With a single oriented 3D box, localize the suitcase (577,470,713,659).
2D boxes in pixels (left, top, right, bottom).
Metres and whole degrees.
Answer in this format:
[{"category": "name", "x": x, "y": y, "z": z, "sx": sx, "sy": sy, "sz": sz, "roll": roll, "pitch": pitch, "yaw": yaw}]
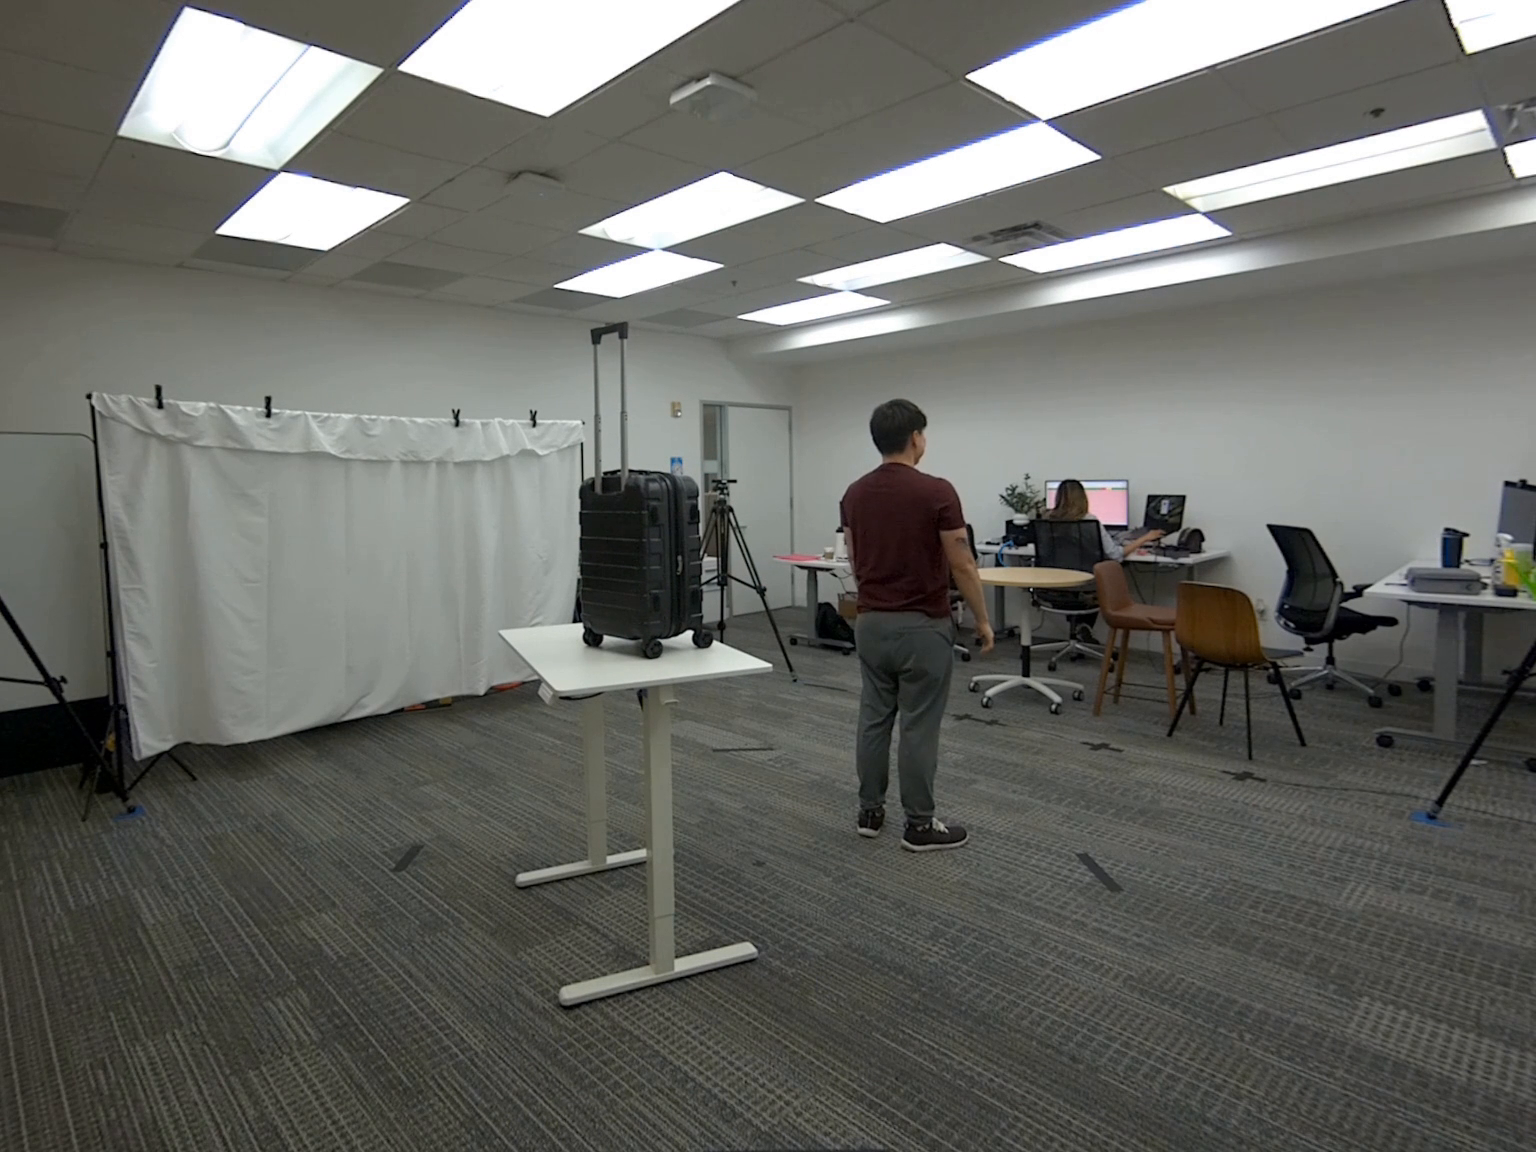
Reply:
[{"category": "suitcase", "x": -0.399, "y": -0.257, "z": 2.641, "sx": 0.396, "sy": 0.975, "sz": 0.250, "roll": 3, "pitch": 5, "yaw": 44}]
